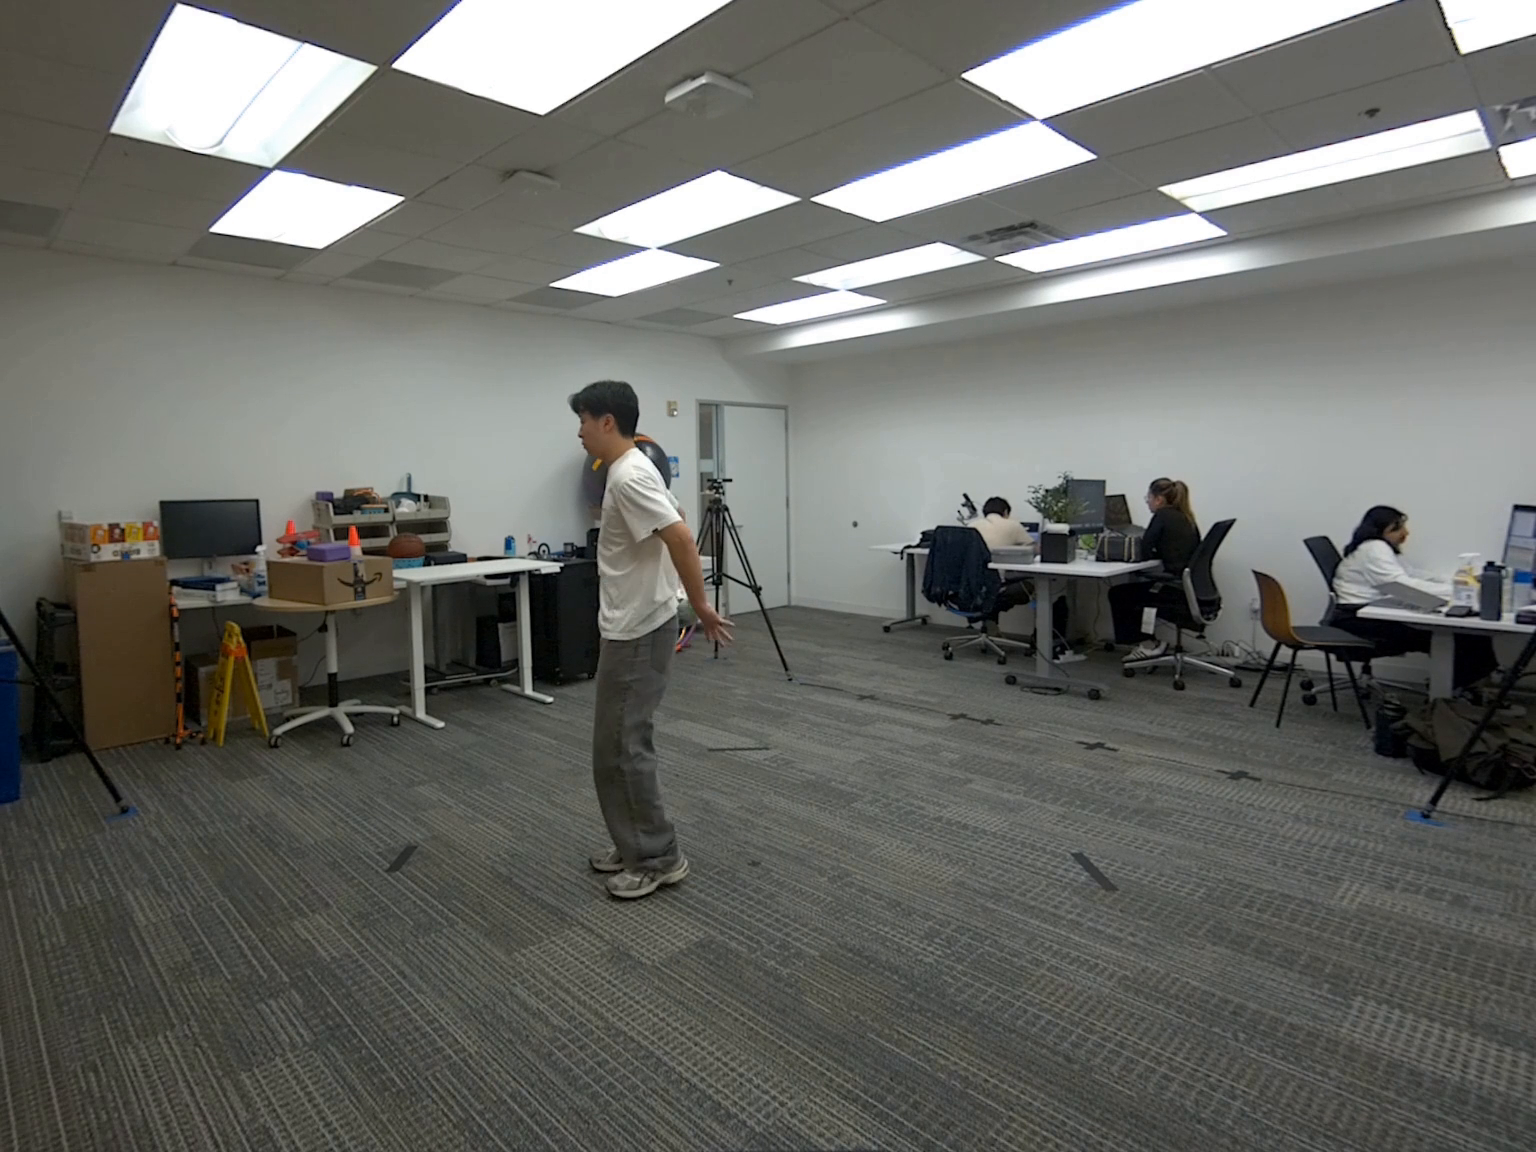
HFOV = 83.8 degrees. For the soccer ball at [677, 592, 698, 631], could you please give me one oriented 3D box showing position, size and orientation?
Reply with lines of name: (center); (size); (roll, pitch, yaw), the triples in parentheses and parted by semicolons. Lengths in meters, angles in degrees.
soccer ball: (-0.405, 0.106, 3.345); (0.187, 0.187, 0.188); (-1, 5, -2)
